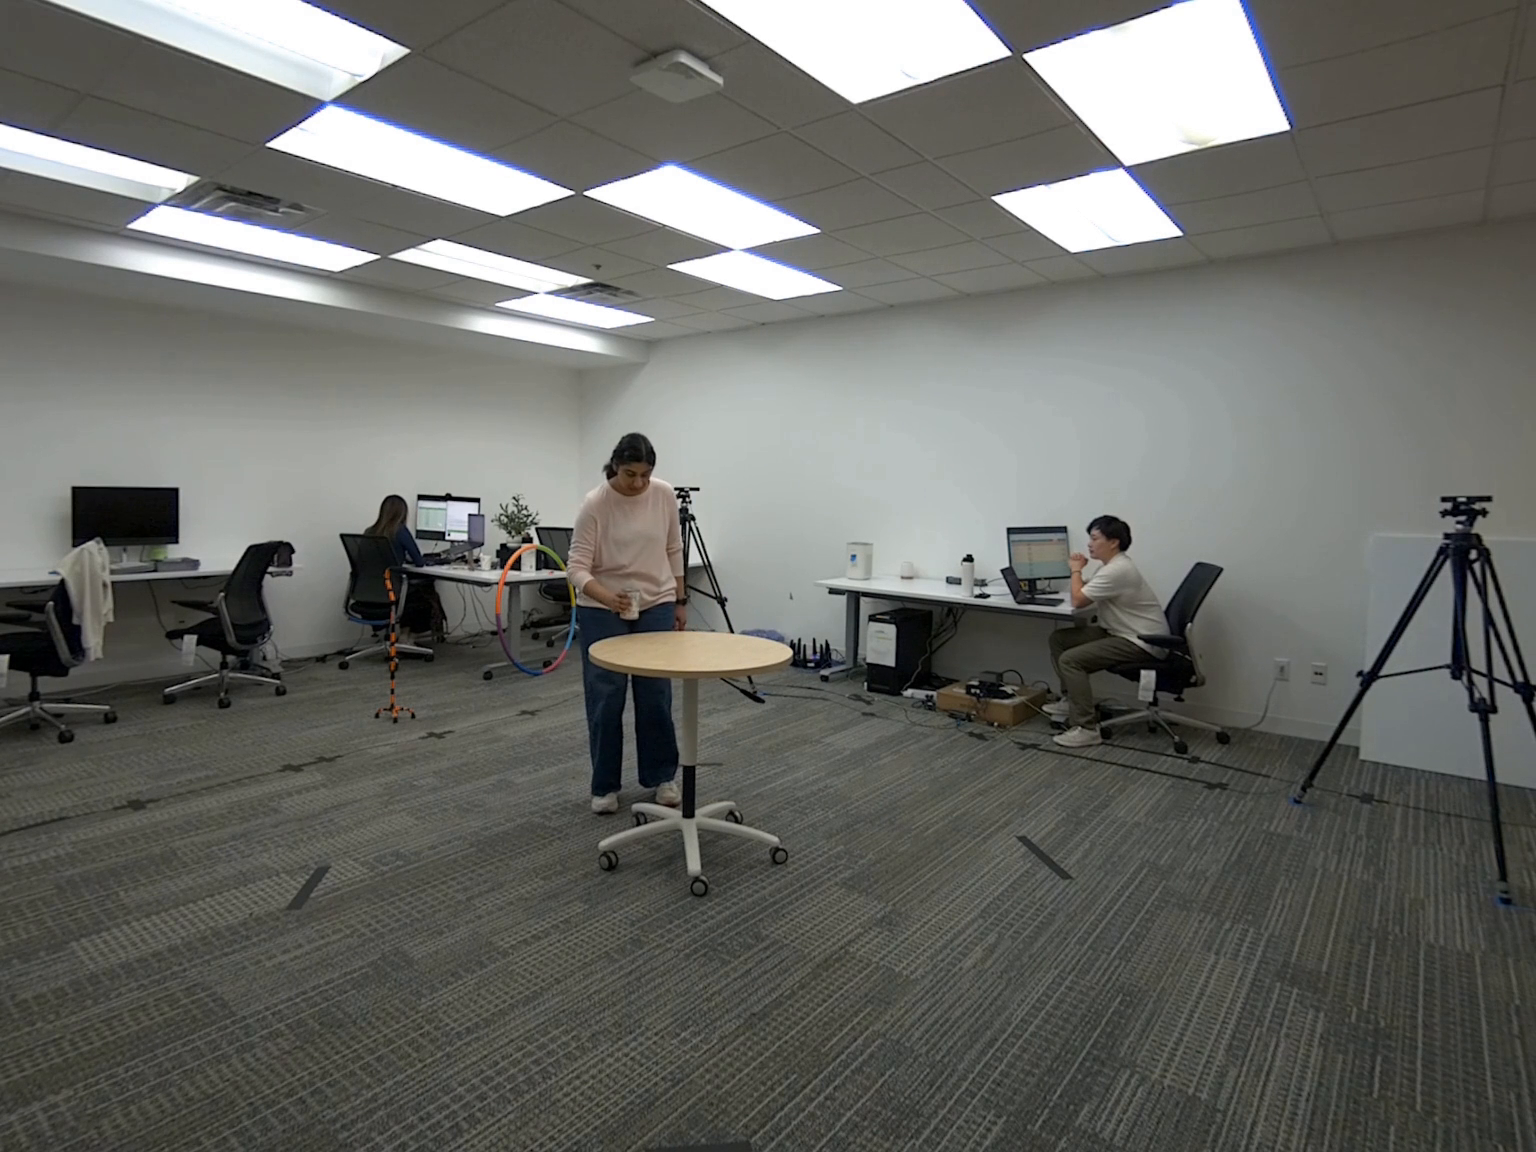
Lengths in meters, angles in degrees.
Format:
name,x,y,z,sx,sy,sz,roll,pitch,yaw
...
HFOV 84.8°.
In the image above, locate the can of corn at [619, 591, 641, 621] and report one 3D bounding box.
name,x,y,z,sx,sy,sz,roll,pitch,yaw
can of corn,-0.585,0.105,3.394,0.074,0.111,0.074,0,3,-2
